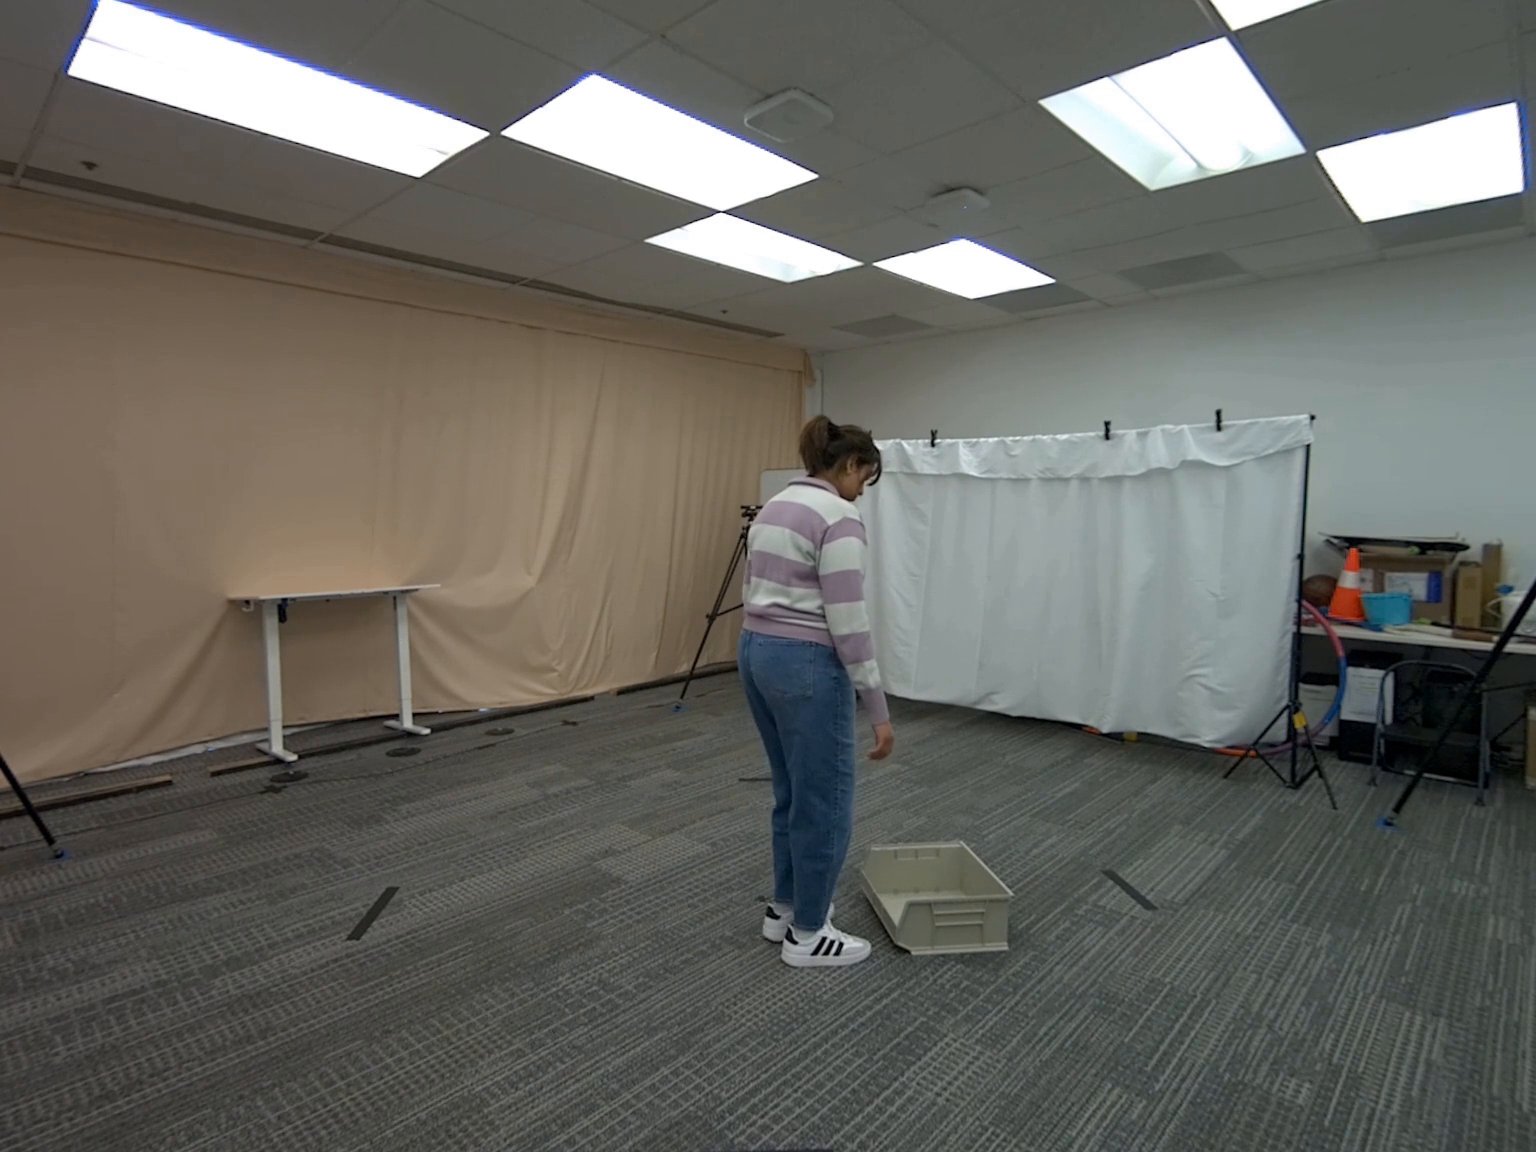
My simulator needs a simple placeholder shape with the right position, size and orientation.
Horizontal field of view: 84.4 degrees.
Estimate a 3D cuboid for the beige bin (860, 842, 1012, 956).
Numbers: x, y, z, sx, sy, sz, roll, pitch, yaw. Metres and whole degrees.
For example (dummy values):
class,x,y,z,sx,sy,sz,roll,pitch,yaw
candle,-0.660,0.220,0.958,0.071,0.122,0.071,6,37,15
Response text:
class,x,y,z,sx,sy,sz,roll,pitch,yaw
beige bin,0.558,1.069,2.813,0.374,0.188,0.427,0,5,-8
